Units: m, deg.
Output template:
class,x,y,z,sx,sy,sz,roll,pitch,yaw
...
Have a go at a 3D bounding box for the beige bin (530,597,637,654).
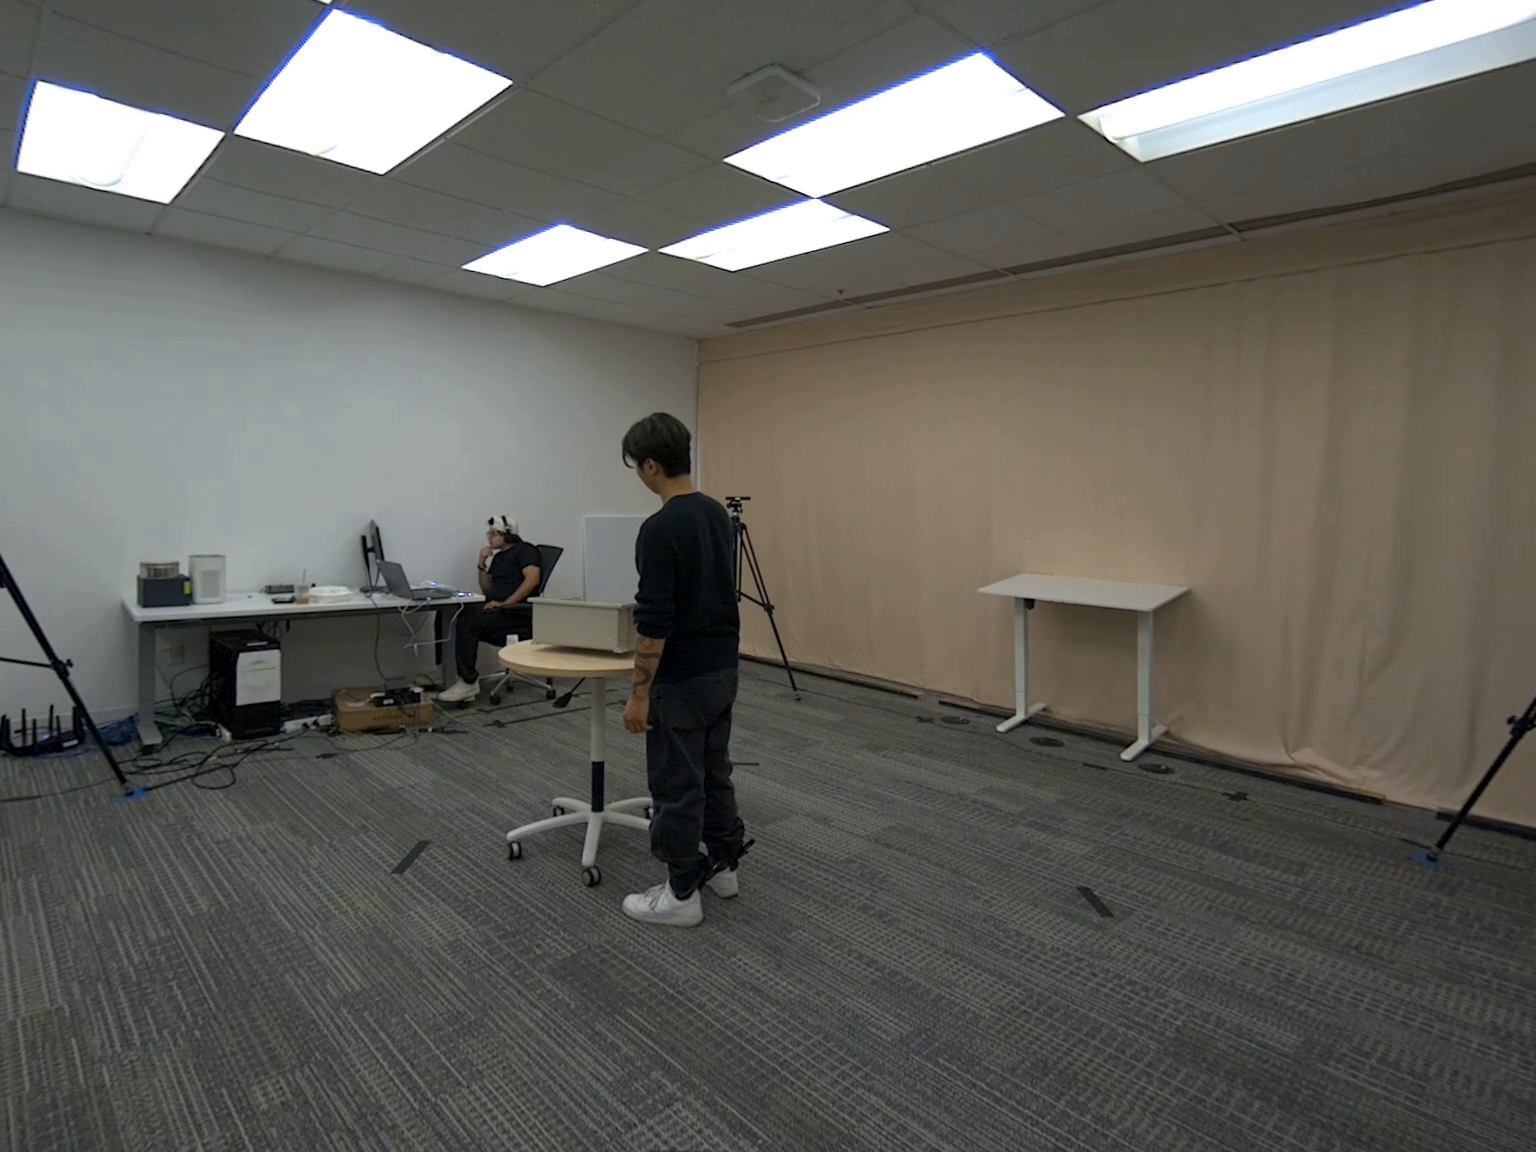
class,x,y,z,sx,sy,sz,roll,pitch,yaw
beige bin,-0.675,0.181,3.341,0.430,0.188,0.372,3,5,22
